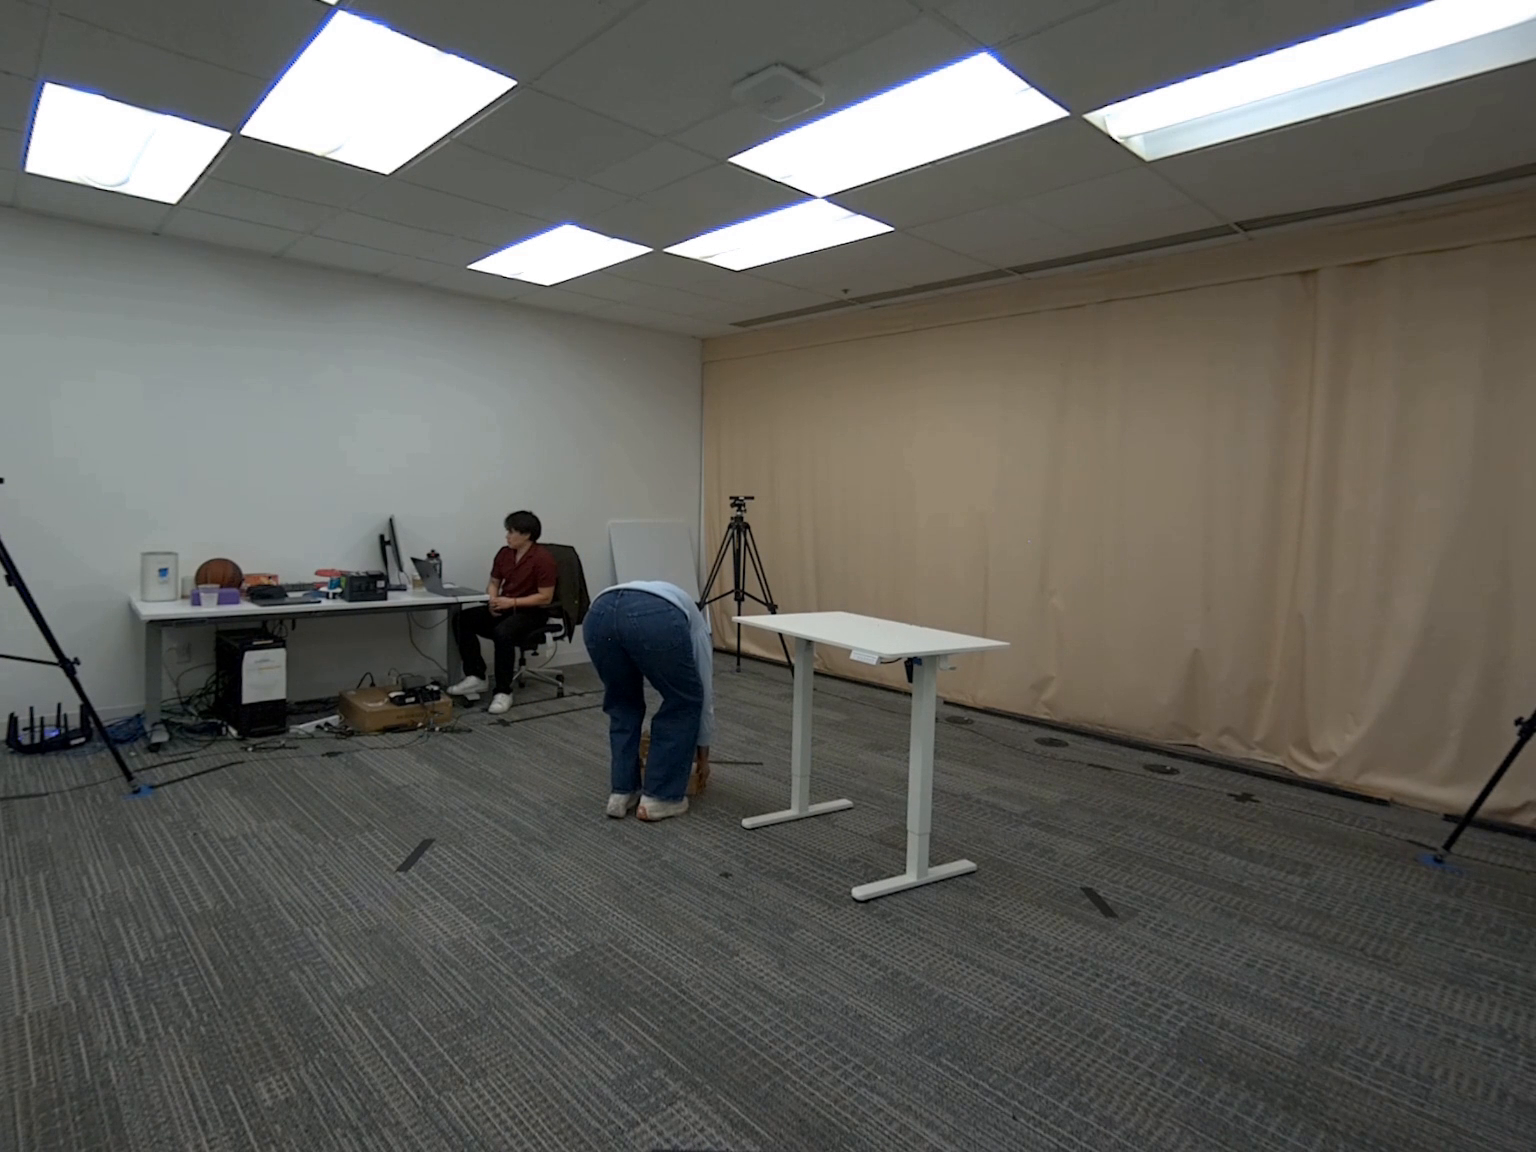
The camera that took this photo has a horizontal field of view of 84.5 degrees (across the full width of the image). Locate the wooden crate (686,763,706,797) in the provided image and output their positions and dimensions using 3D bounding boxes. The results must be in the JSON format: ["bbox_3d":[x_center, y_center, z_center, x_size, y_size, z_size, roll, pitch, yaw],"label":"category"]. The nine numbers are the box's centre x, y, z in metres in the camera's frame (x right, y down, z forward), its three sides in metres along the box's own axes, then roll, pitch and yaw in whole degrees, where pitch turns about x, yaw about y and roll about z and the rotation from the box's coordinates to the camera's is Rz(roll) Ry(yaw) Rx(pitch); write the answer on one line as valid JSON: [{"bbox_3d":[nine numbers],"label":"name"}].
[{"bbox_3d":[-0.464,0.880,4.070,0.327,0.273,0.300,2,4,10],"label":"wooden crate"}]
